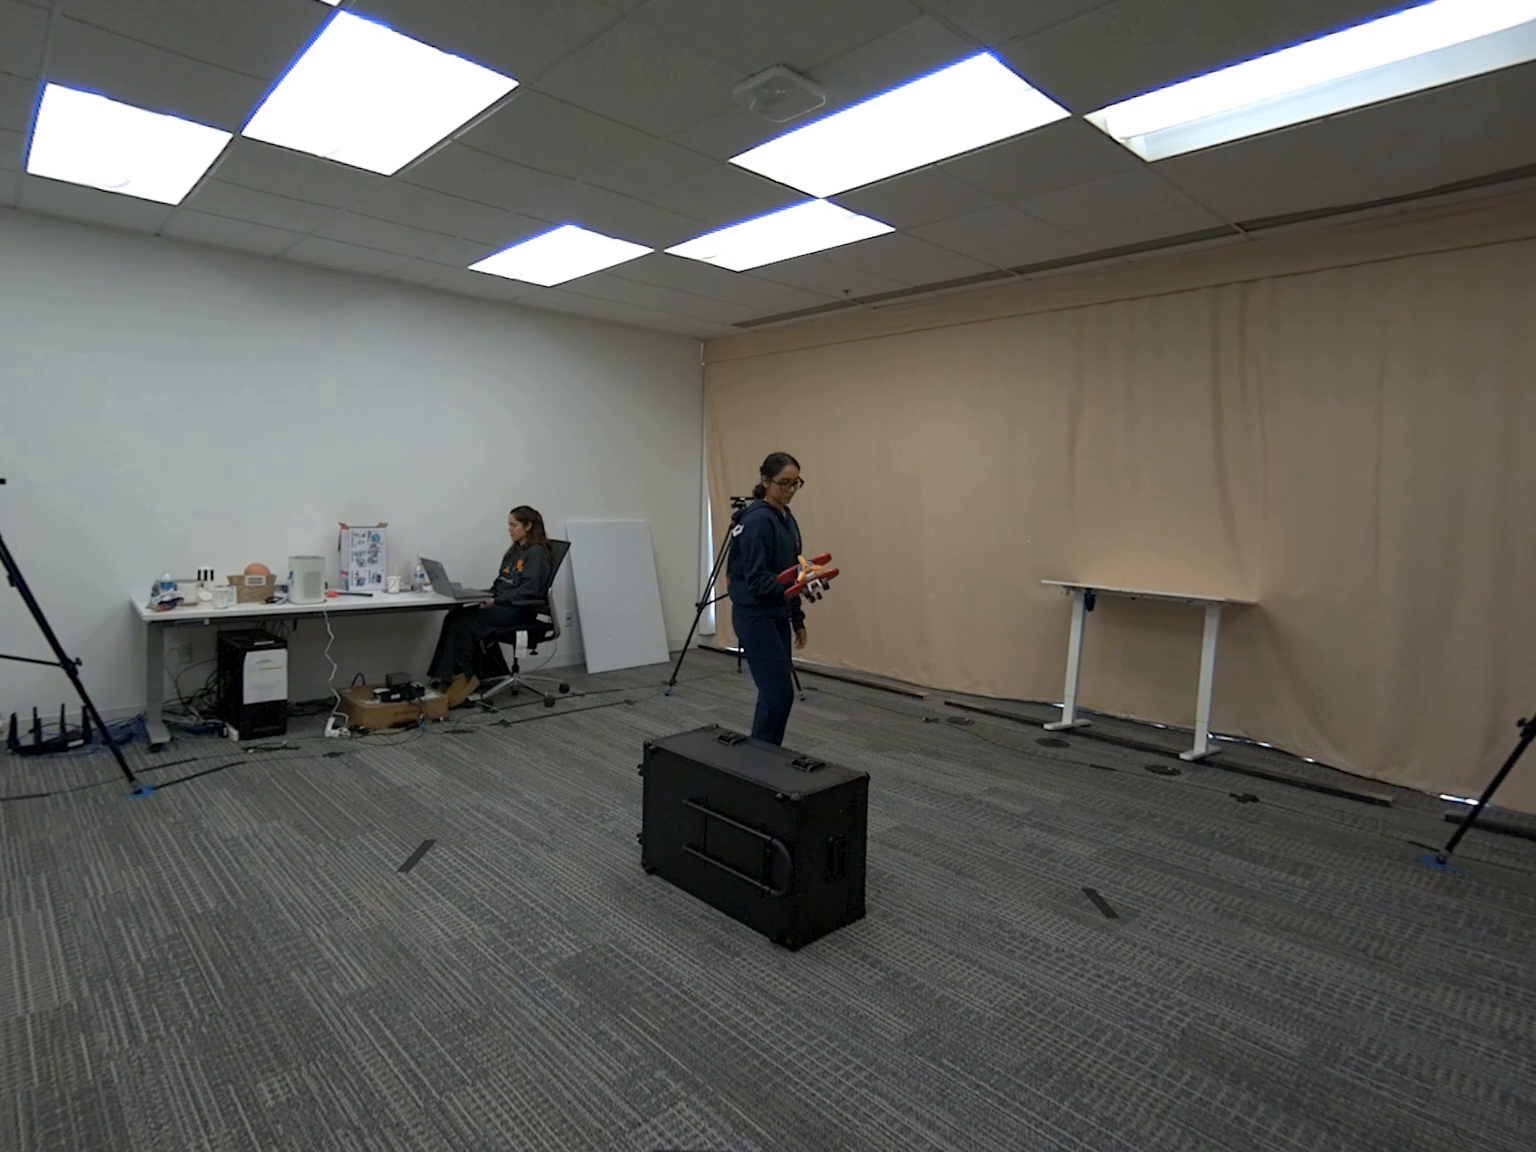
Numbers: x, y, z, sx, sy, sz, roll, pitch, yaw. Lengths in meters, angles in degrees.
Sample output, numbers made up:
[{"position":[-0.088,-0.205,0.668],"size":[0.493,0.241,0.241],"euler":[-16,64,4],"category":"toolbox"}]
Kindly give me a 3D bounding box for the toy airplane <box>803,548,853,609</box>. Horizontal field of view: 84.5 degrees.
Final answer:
[{"position":[0.171,0.029,3.667],"size":[0.248,0.158,0.259],"euler":[-18,-13,-29],"category":"toy airplane"}]
